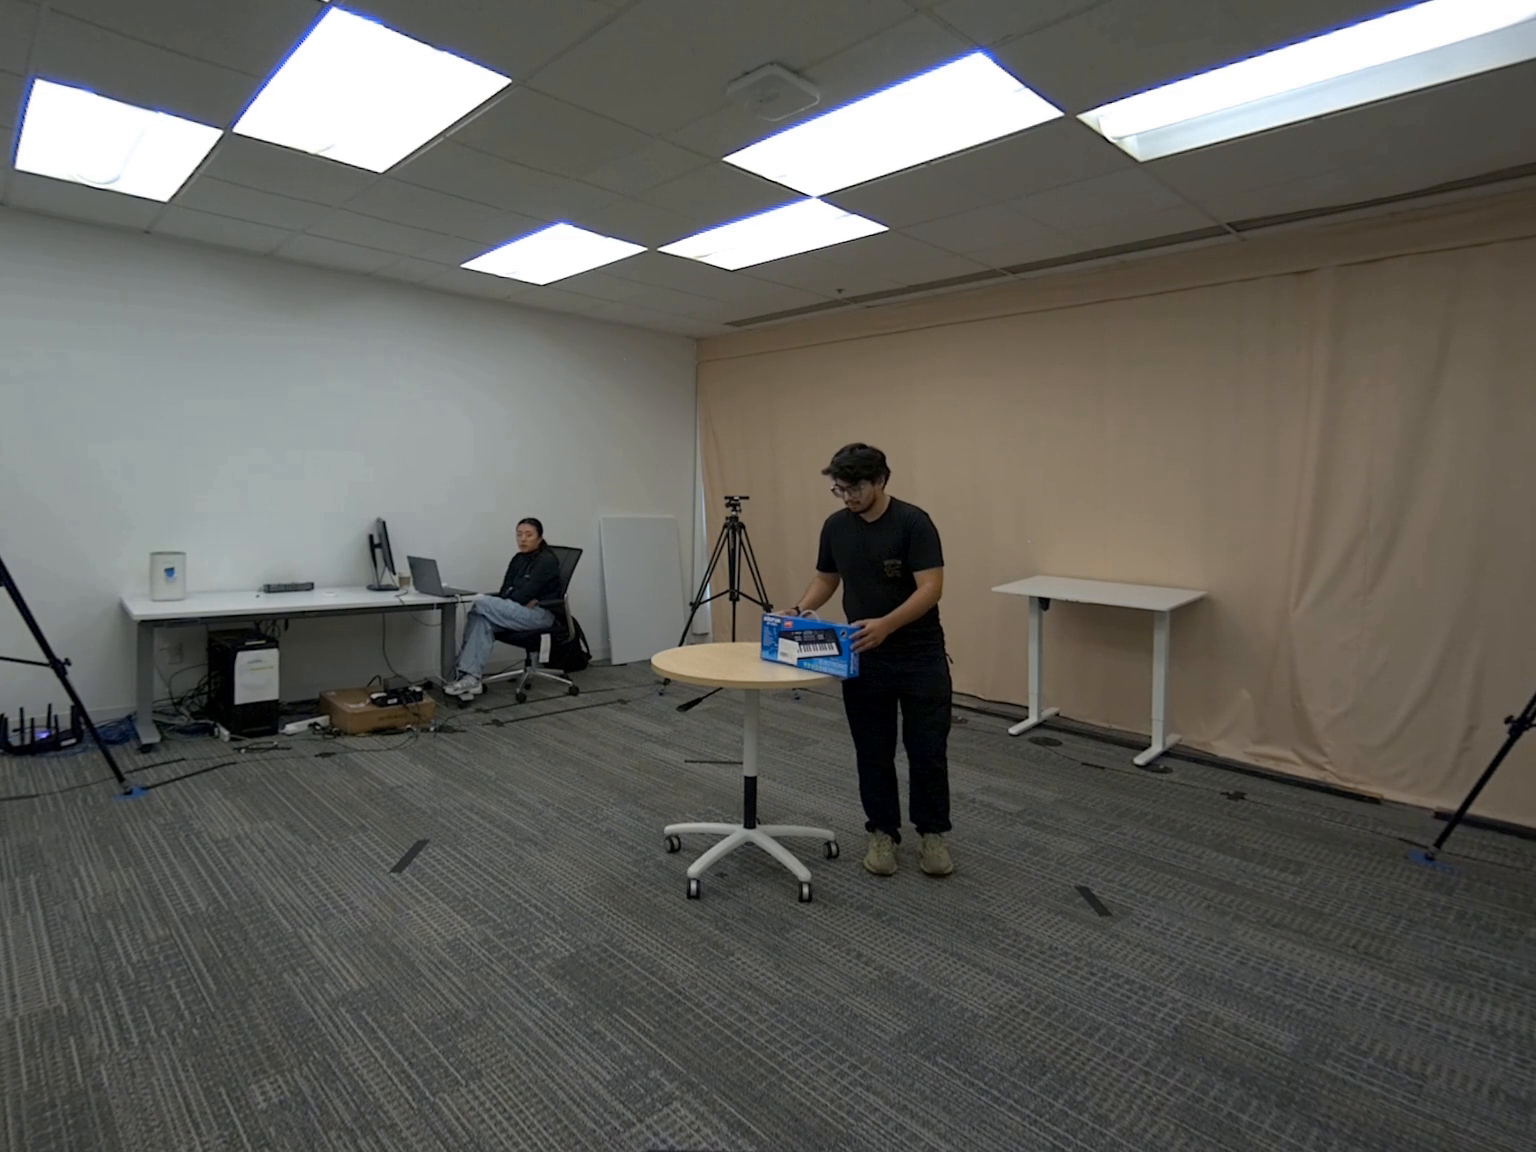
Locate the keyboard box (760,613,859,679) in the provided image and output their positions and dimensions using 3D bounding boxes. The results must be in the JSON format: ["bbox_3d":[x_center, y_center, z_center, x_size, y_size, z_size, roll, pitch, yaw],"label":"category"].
[{"bbox_3d":[0.135,0.248,3.027,0.058,0.176,0.448,1,3,-42],"label":"keyboard box"}]
